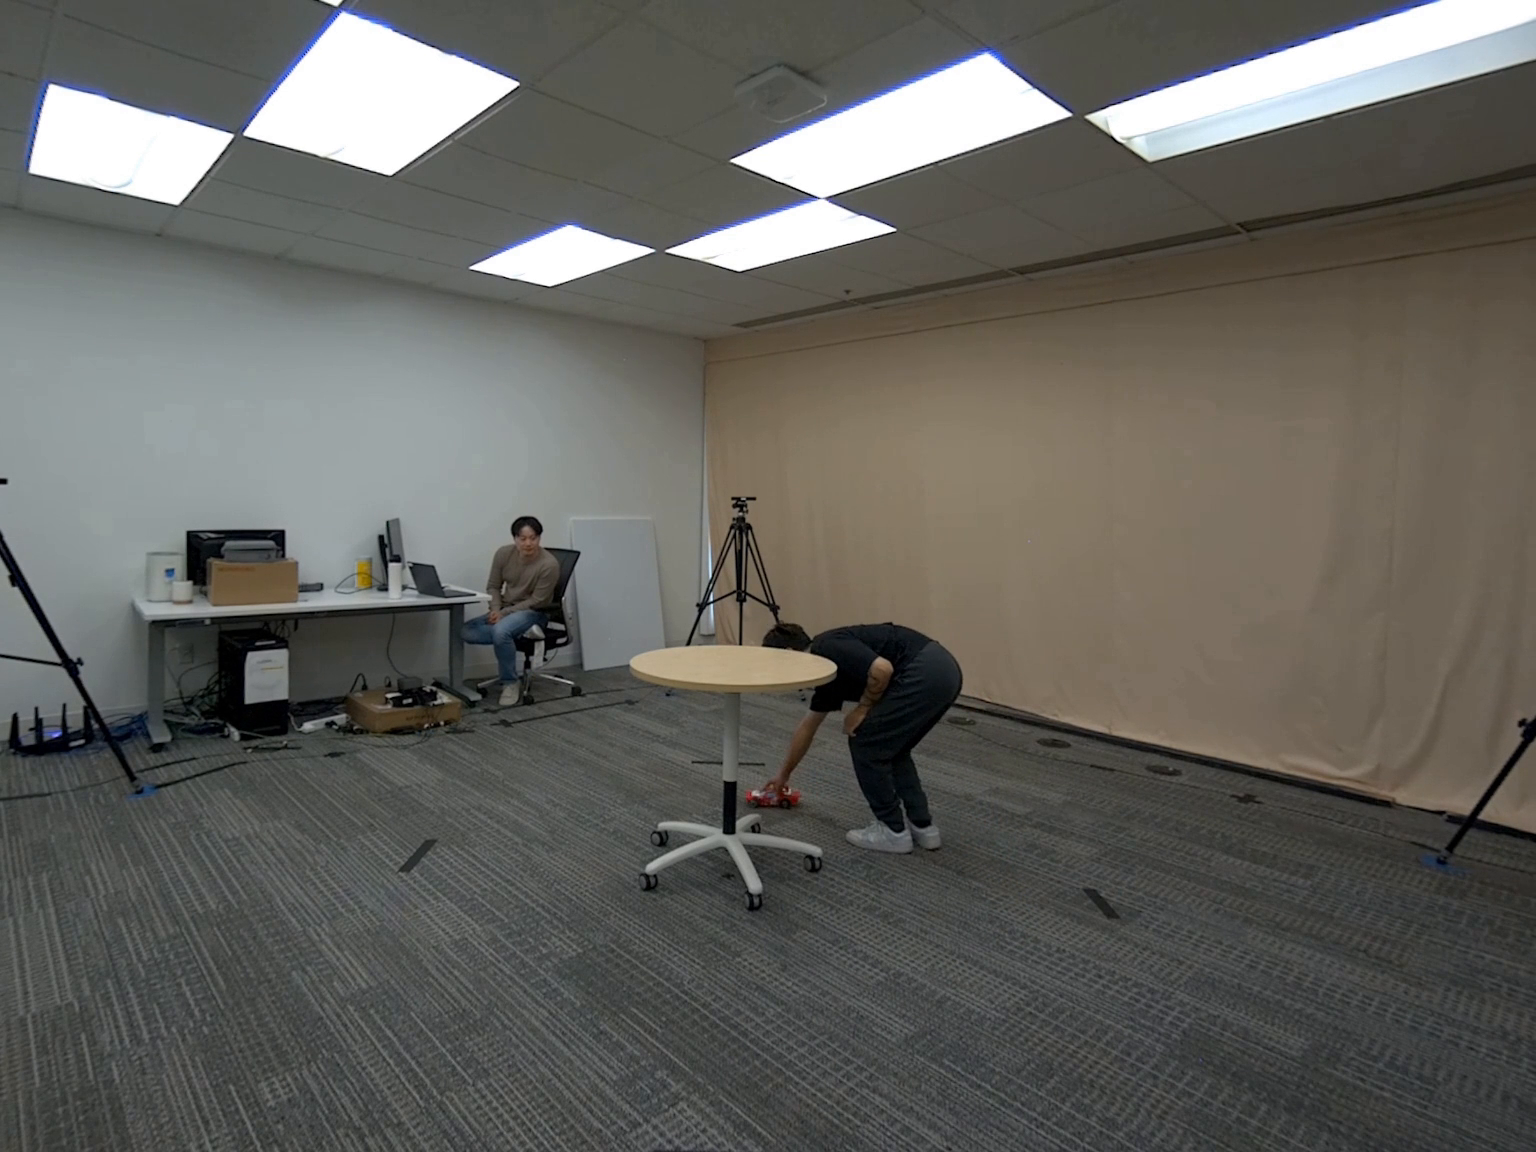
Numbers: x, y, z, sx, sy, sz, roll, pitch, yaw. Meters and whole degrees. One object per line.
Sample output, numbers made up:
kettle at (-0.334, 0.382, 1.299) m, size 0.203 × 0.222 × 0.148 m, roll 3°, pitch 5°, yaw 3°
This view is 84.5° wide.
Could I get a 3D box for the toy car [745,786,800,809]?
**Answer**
toy car at (0.018, 1.014, 3.860) m, size 0.255 × 0.083 × 0.130 m, roll -8°, pitch 4°, yaw 0°
